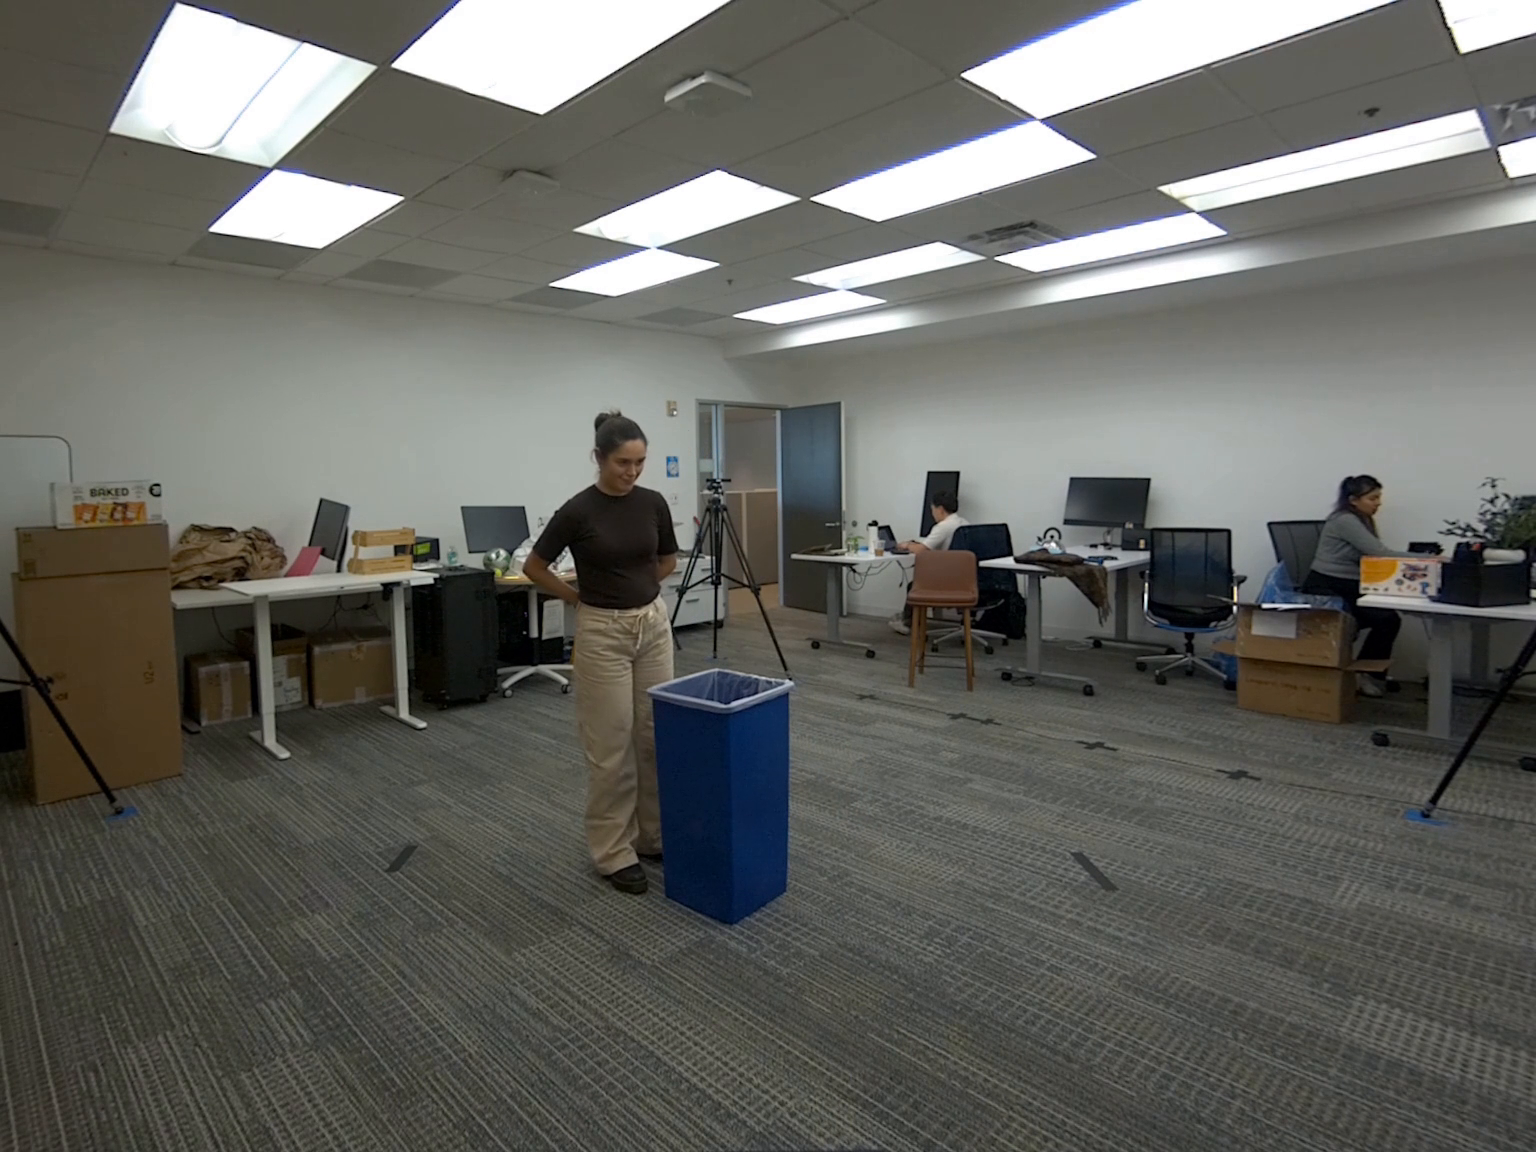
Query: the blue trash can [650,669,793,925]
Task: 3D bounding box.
[{"bbox_3d":[-0.155,0.717,2.853,0.385,0.710,0.368,3,6,39],"label":"blue trash can"}]
